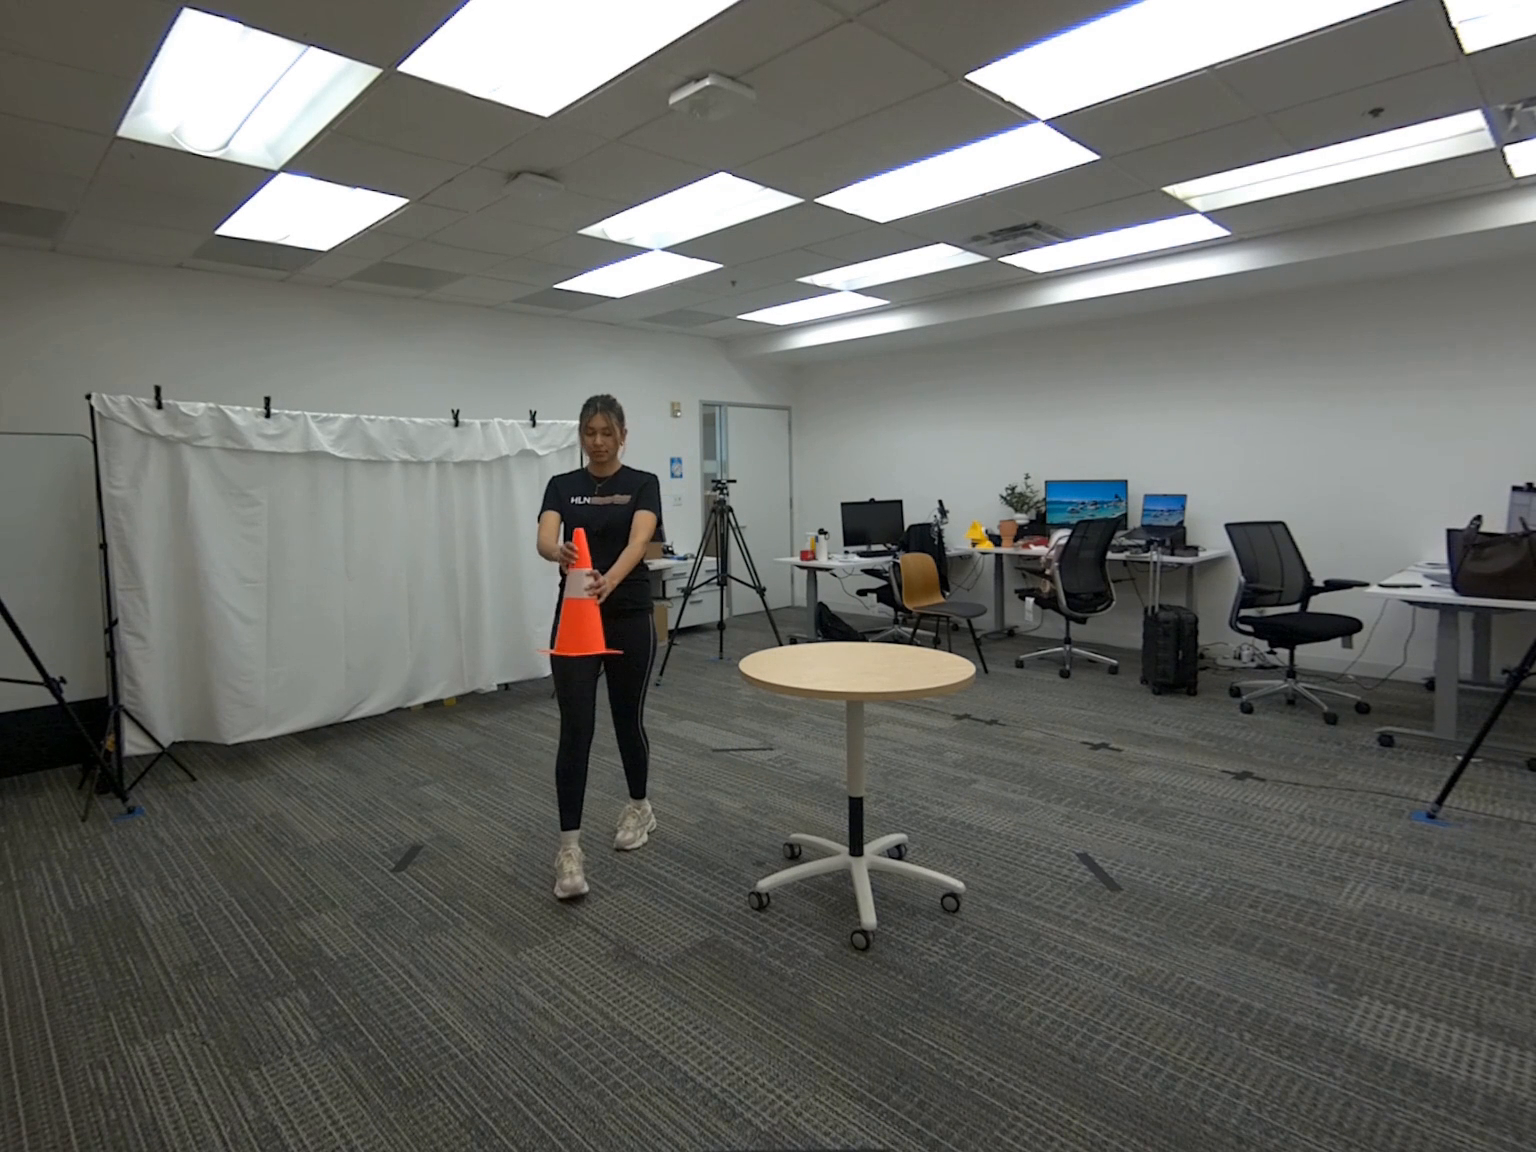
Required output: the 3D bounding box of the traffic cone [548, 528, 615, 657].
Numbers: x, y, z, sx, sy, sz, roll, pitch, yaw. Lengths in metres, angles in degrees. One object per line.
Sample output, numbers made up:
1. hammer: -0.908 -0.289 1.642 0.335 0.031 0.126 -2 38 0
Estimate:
1. traffic cone: -0.591 0.046 2.645 0.208 0.384 0.200 -2 -2 28
